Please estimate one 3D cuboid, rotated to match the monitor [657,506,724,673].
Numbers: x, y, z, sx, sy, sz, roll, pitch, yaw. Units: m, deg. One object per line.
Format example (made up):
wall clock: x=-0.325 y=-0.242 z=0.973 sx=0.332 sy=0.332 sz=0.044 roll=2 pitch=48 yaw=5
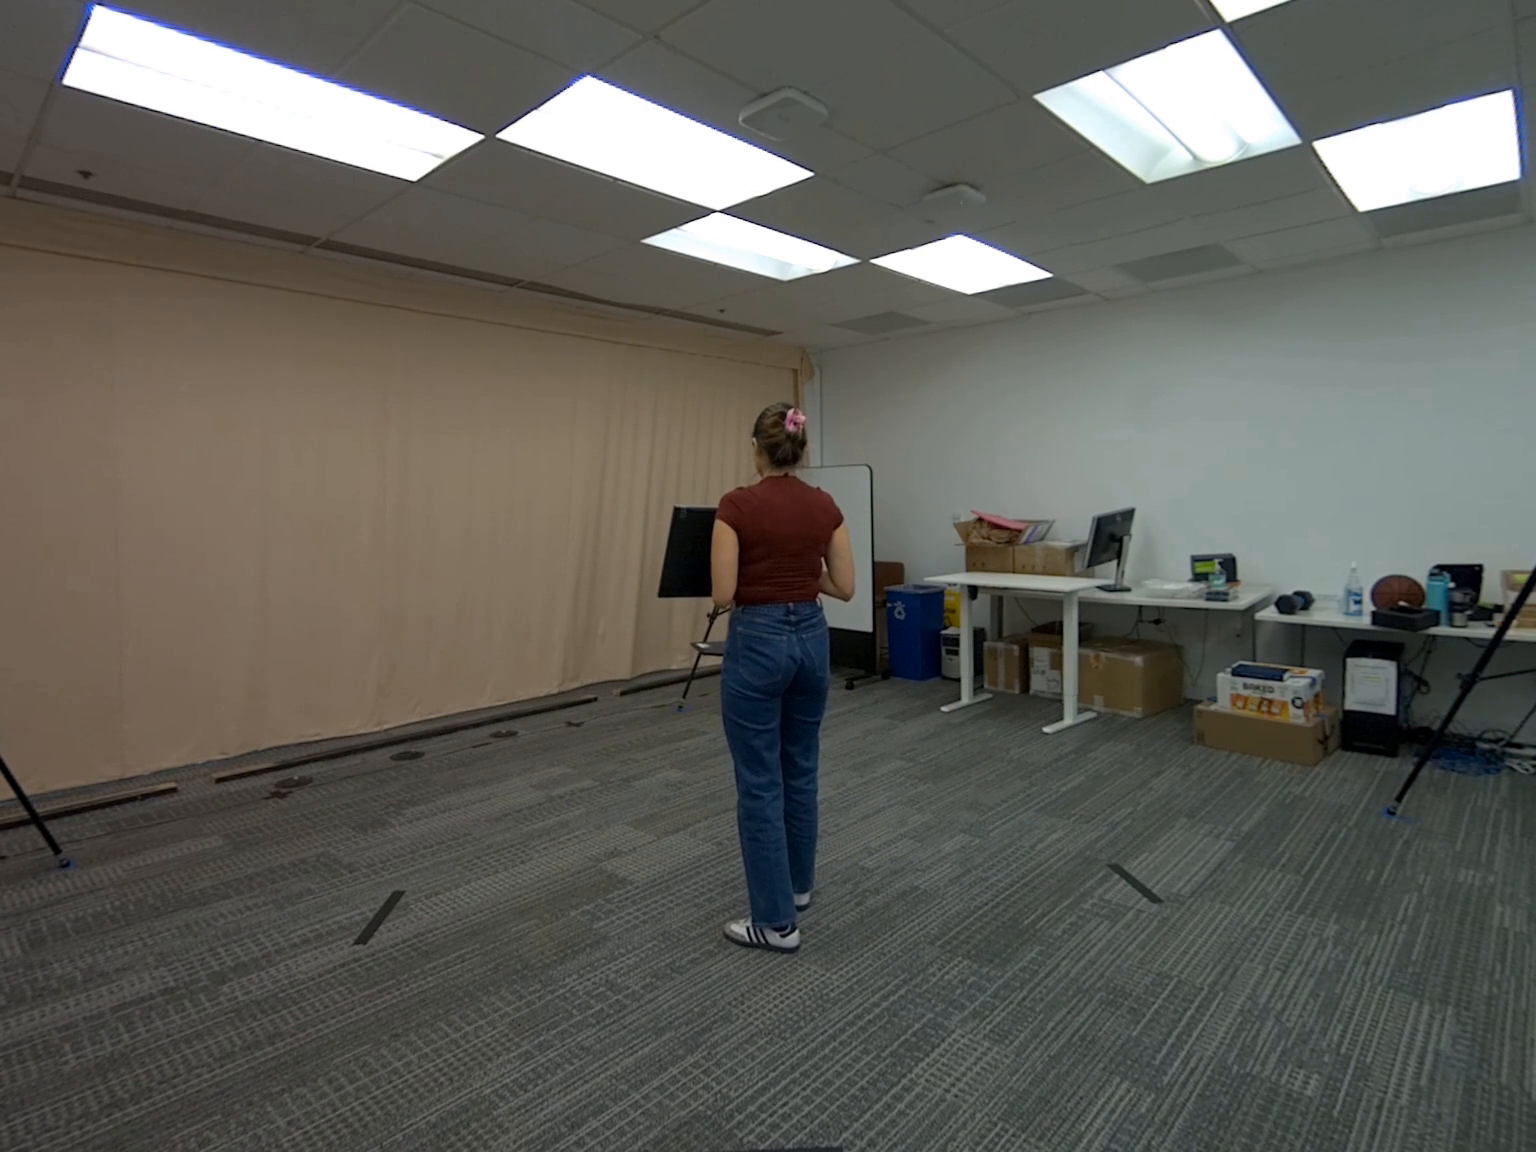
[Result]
monitor: x=-0.107 y=0.018 z=2.959 sx=0.526 sy=0.519 sz=0.193 roll=1 pitch=13 yaw=-25
